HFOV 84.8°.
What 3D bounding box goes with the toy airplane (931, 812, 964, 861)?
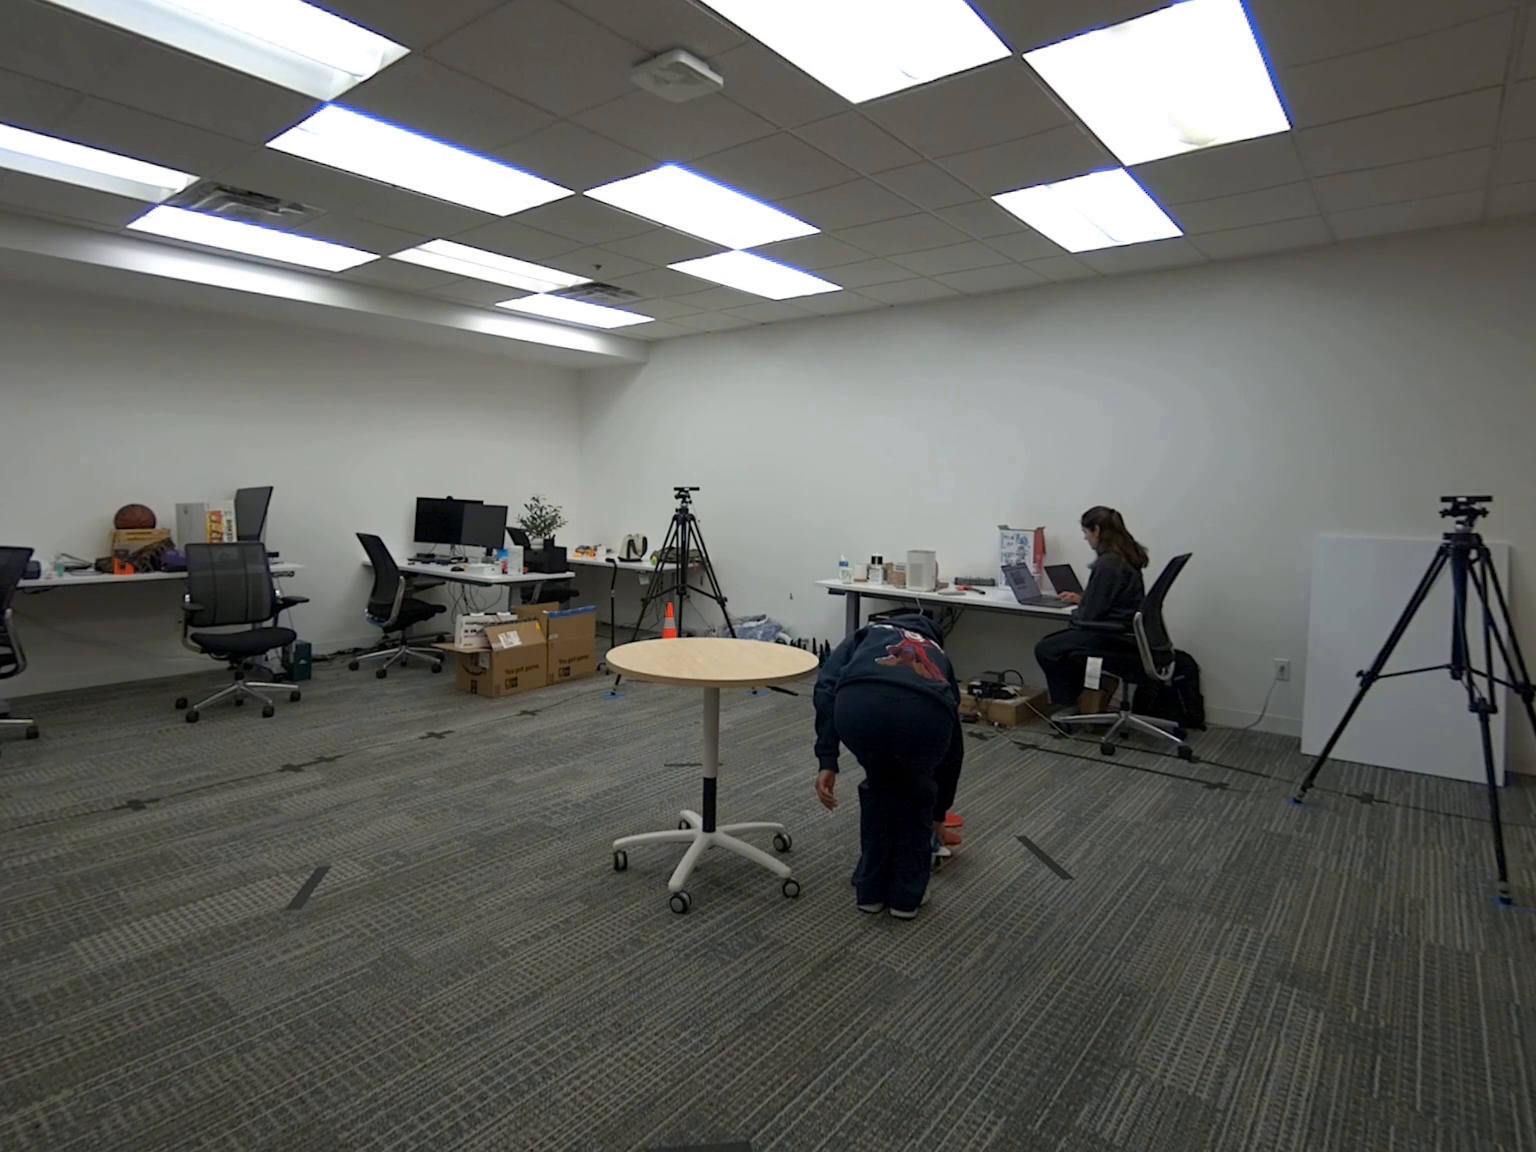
[{"bbox_3d":[0.631,0.988,3.237,0.245,0.156,0.266,2,0,-26],"label":"toy airplane"}]
